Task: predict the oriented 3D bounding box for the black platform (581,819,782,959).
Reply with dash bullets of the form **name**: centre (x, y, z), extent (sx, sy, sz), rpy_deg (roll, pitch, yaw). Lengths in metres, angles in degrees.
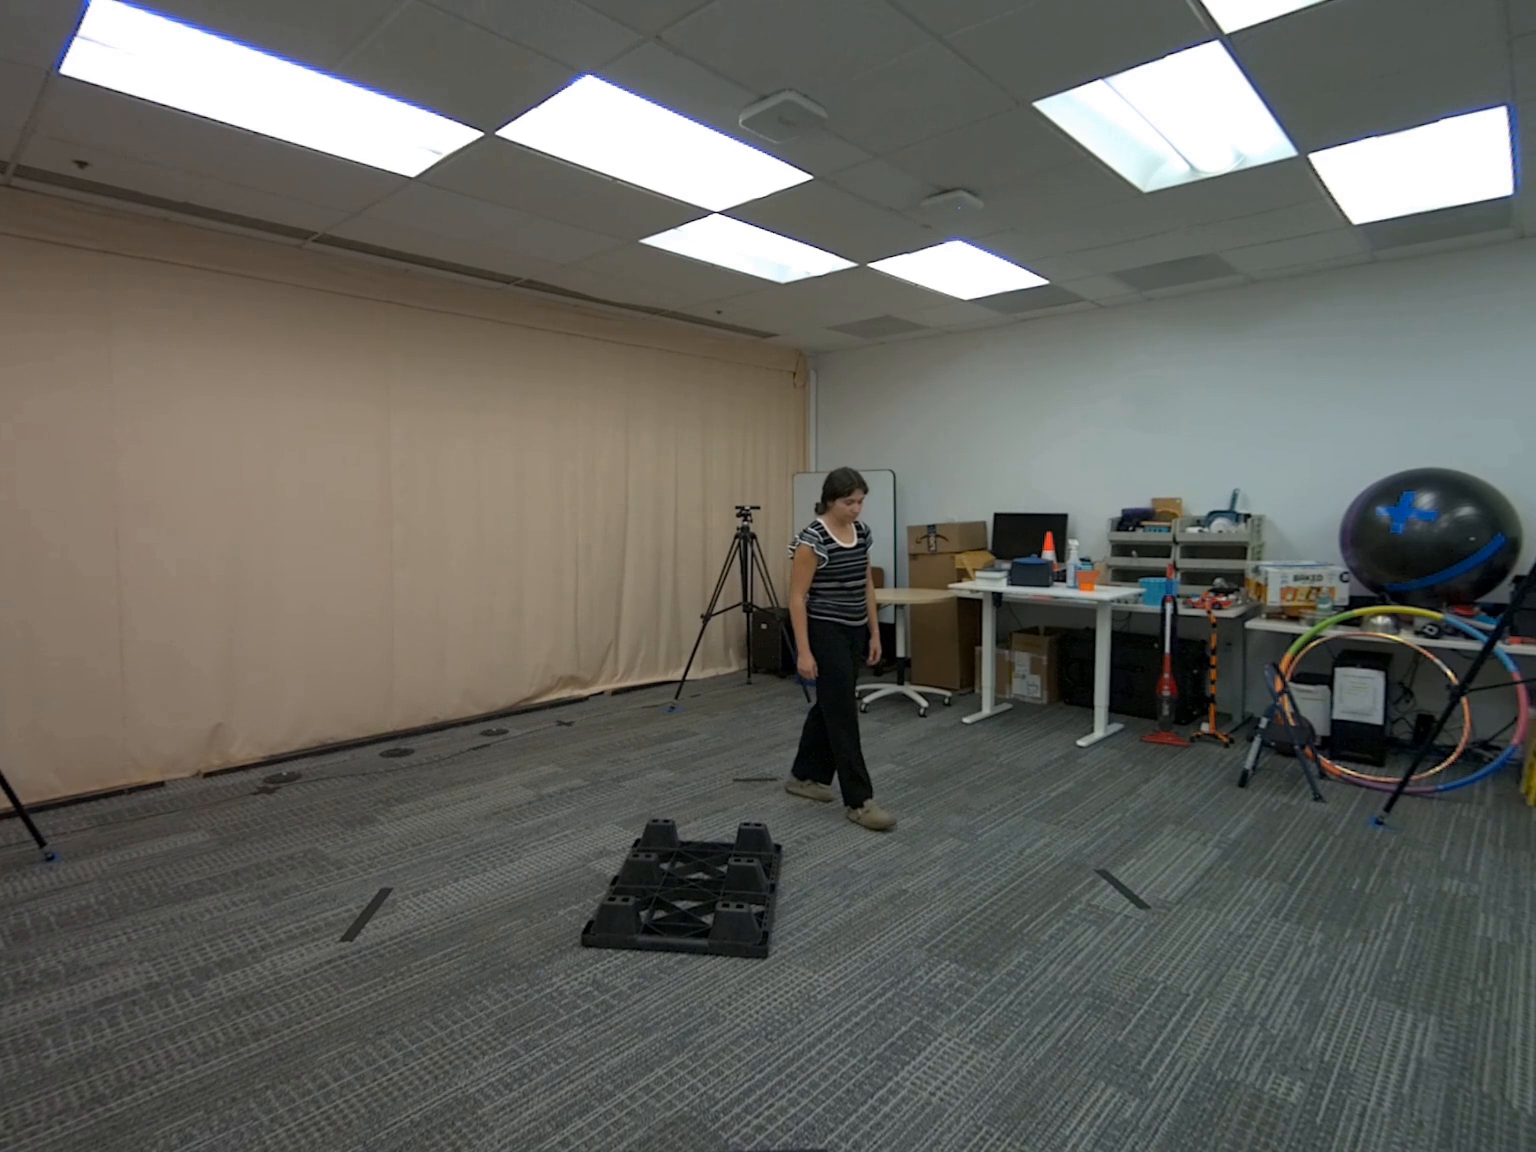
- **black platform**: centre (-0.272, 1.075, 3.014), extent (0.609, 0.143, 0.802), rpy_deg (0, 5, 5)
